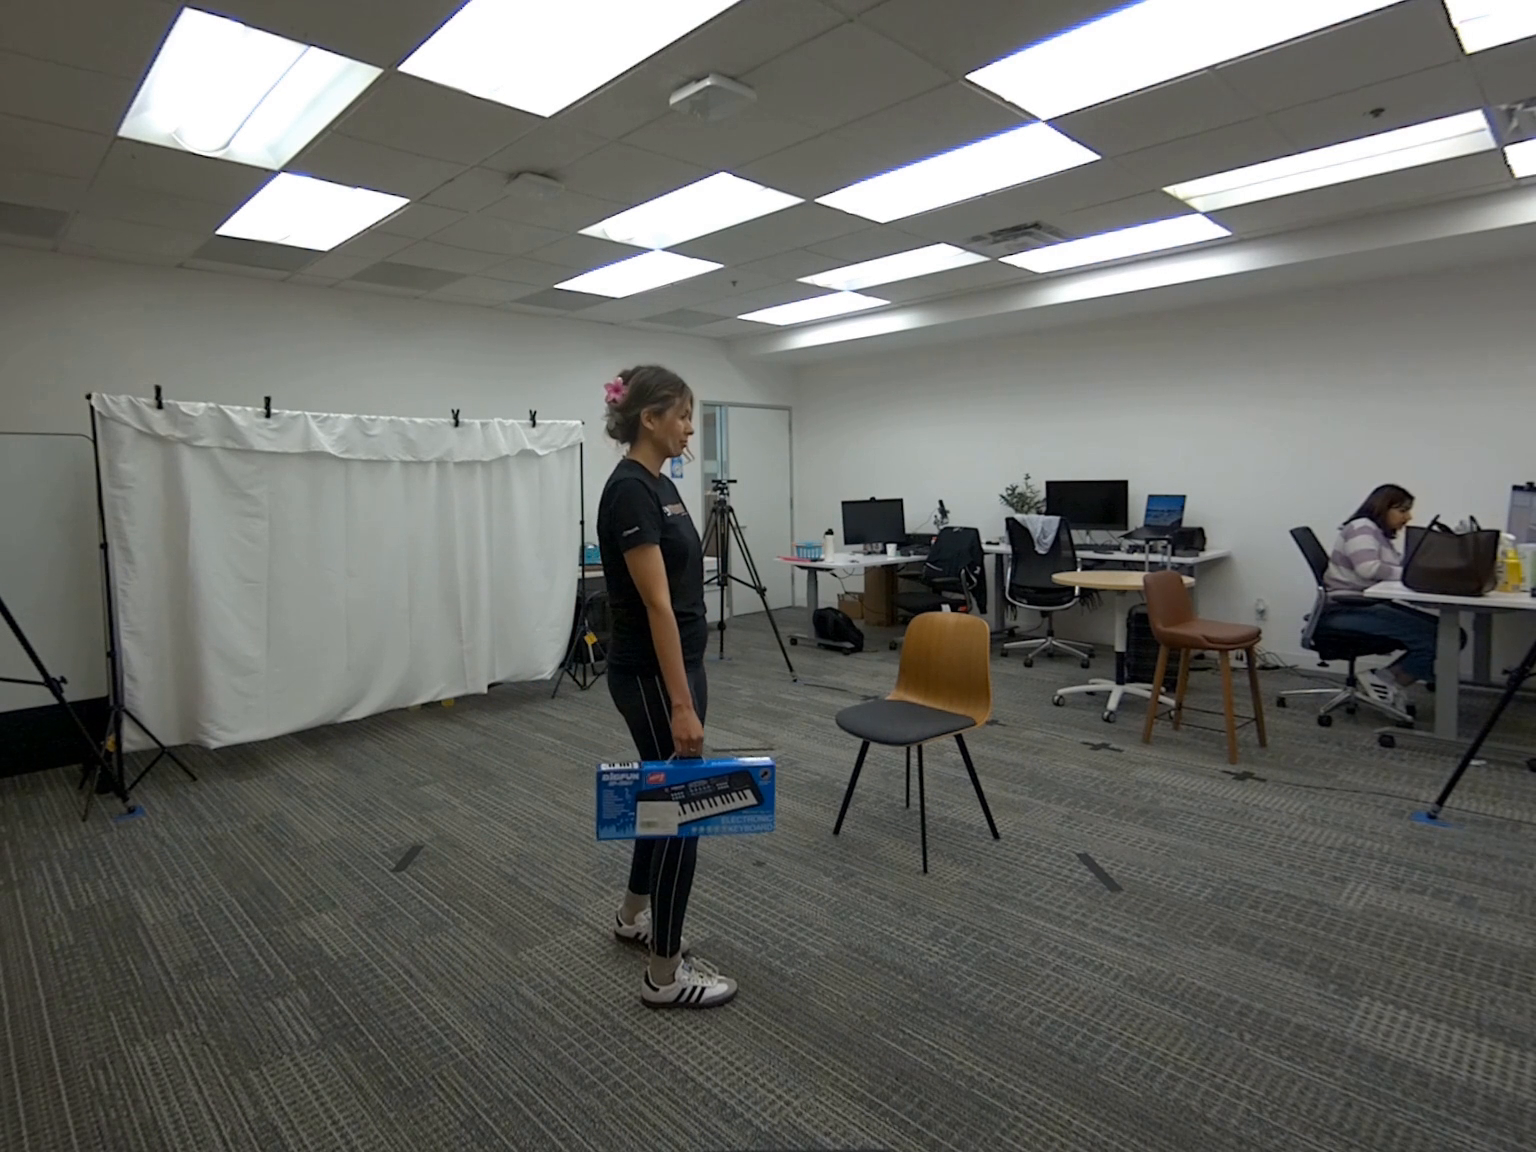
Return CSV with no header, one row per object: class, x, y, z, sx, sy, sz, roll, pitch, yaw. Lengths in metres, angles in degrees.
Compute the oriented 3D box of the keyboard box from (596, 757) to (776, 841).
keyboard box,-0.199,0.548,2.101,0.433,0.175,0.060,-2,5,-8
